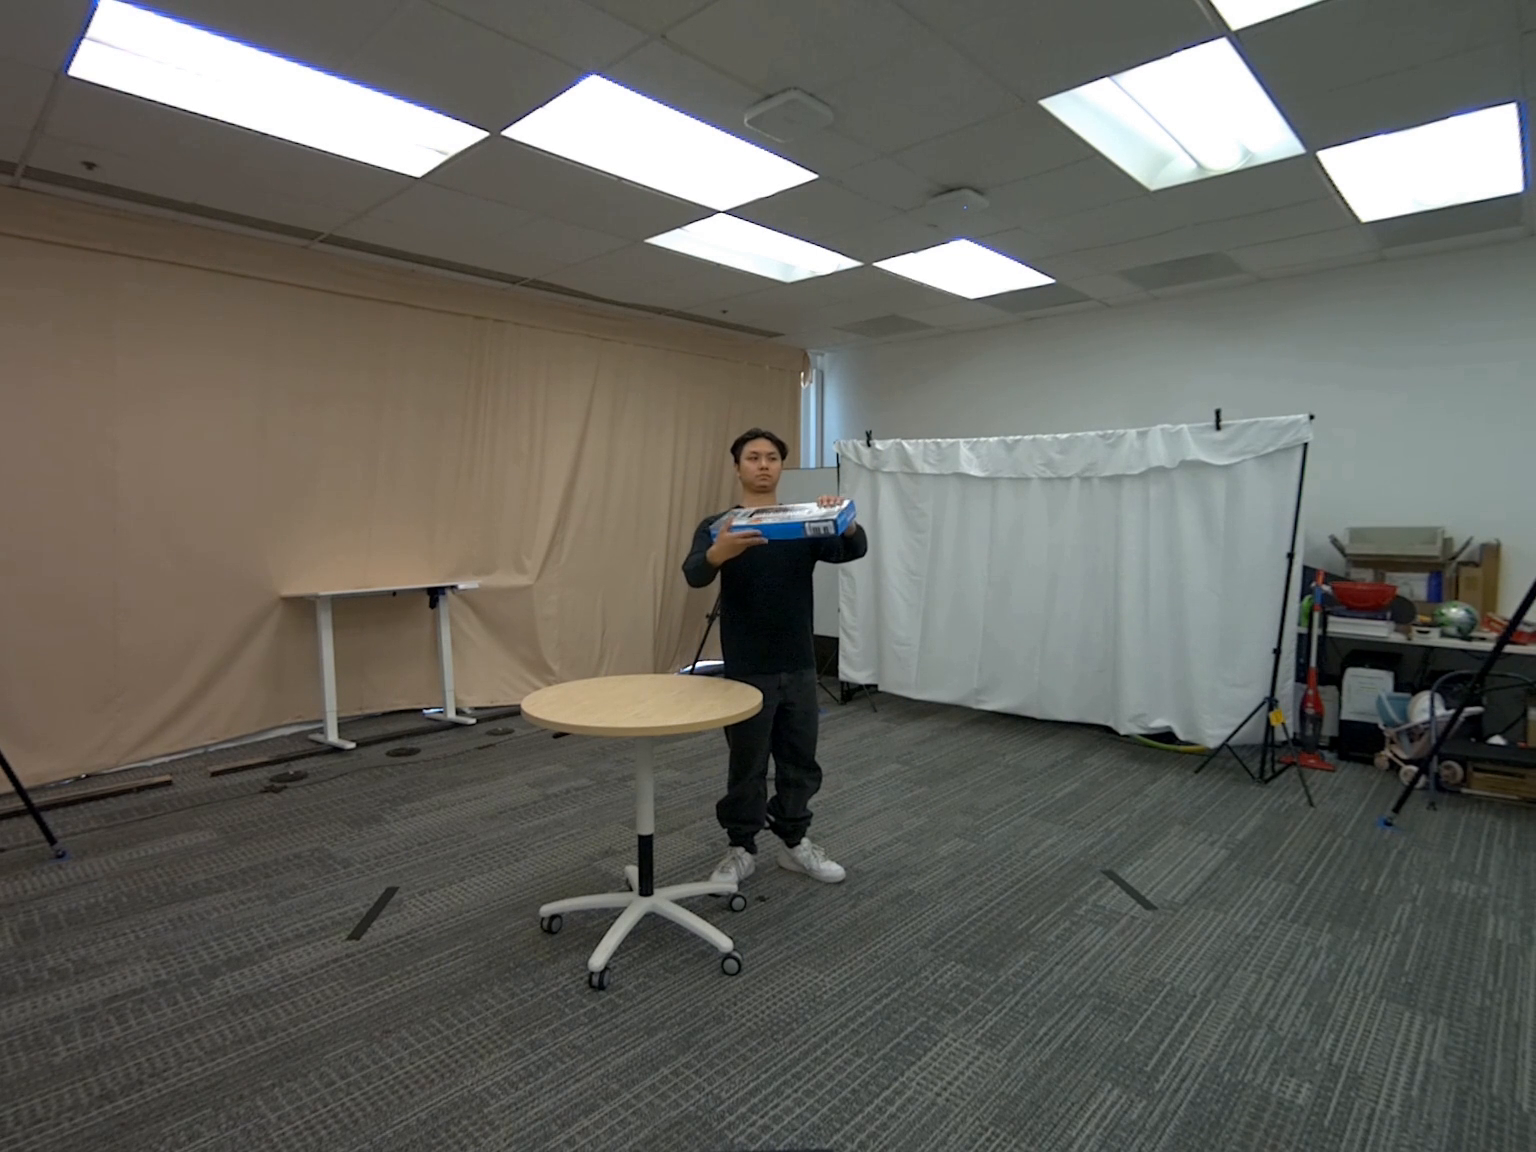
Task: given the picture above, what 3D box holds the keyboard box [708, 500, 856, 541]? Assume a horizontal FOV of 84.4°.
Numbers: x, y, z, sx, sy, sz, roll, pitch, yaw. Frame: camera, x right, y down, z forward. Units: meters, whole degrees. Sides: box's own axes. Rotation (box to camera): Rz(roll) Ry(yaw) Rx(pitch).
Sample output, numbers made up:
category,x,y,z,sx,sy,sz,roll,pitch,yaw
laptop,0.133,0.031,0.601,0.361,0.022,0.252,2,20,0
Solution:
category,x,y,z,sx,sy,sz,roll,pitch,yaw
keyboard box,0.048,-0.170,2.694,0.448,0.058,0.174,-2,23,29
